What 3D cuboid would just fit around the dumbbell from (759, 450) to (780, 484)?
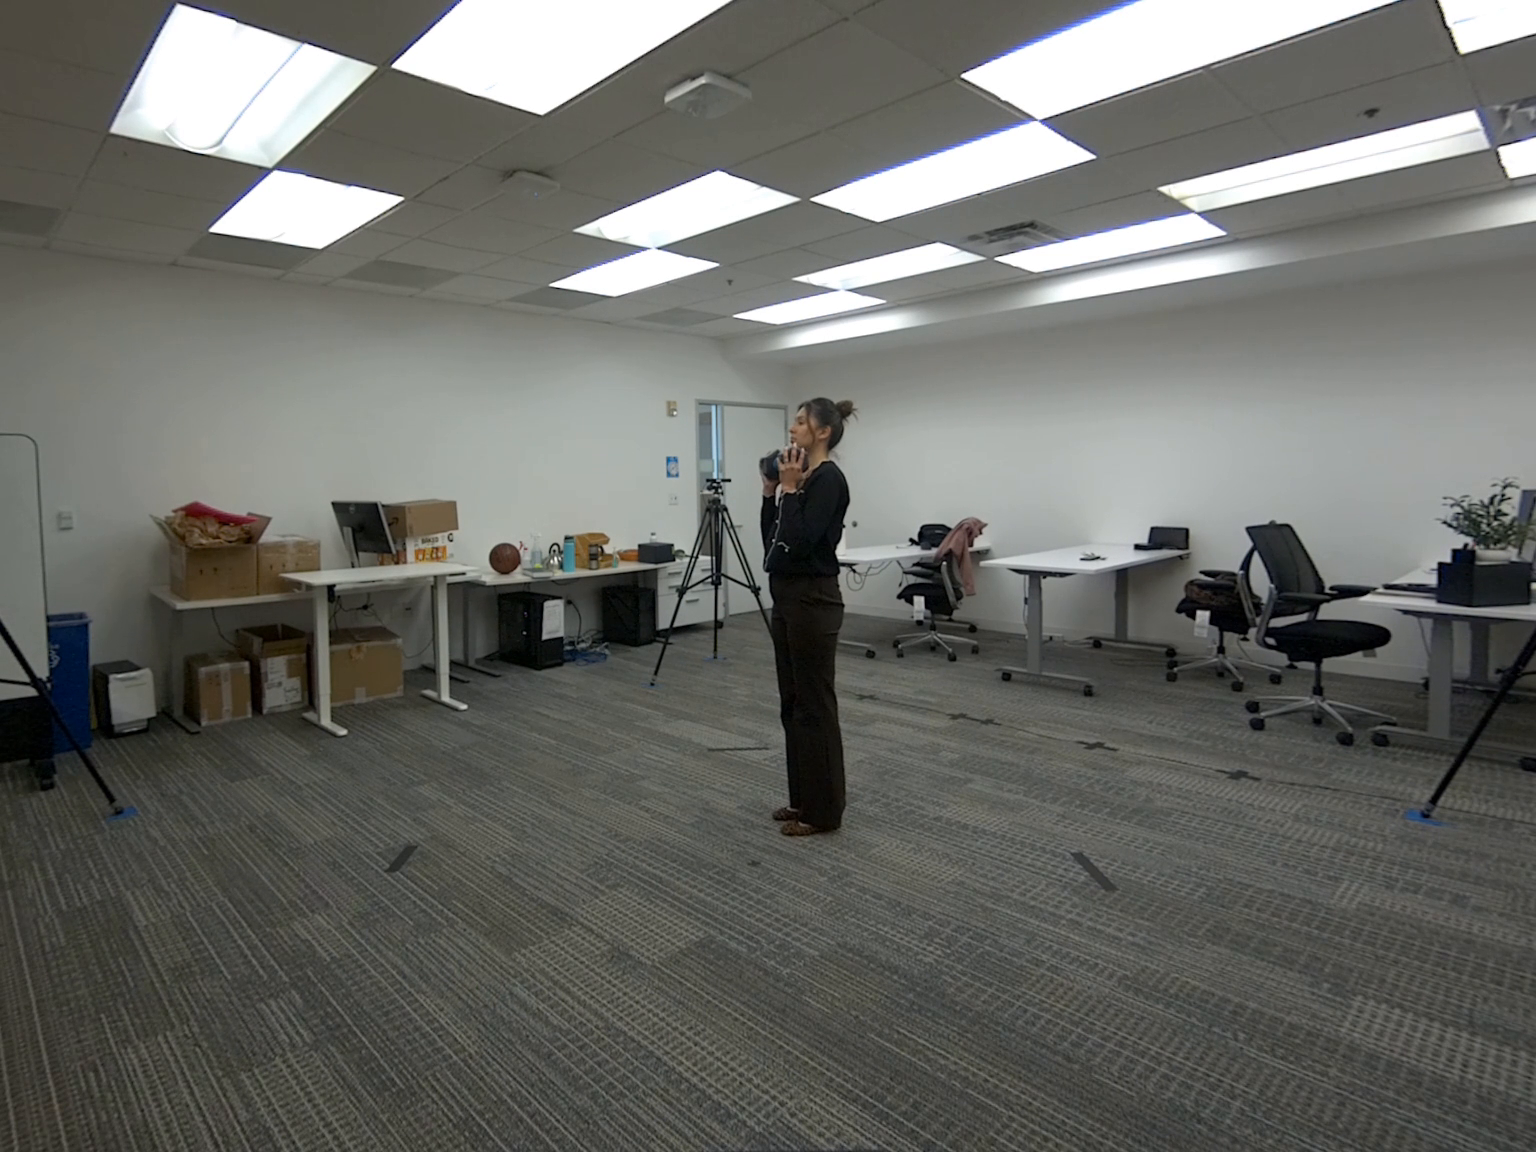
[{"bbox_3d":[0.077,-0.448,3.374,0.107,0.122,0.299,-10,7,-17],"label":"dumbbell"}]
